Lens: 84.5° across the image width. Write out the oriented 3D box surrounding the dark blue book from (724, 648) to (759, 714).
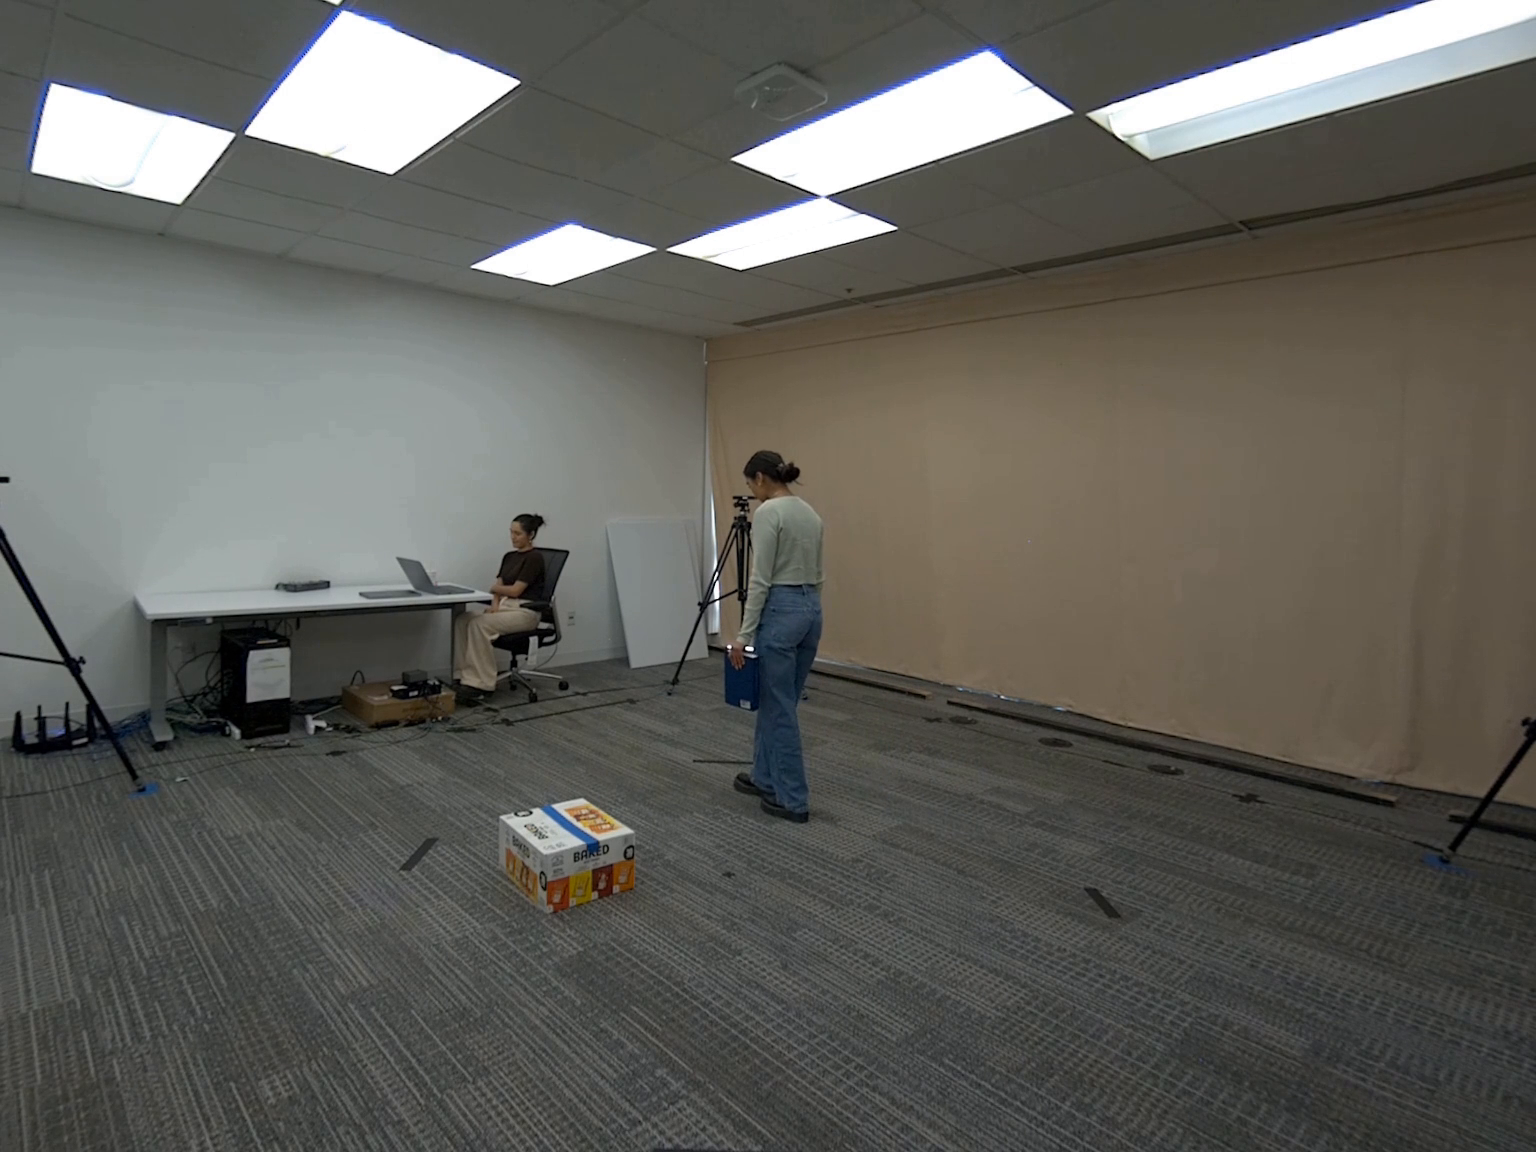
[{"bbox_3d":[-0.112,0.447,3.649,0.168,0.243,0.044,11,16,36],"label":"dark blue book"}]
